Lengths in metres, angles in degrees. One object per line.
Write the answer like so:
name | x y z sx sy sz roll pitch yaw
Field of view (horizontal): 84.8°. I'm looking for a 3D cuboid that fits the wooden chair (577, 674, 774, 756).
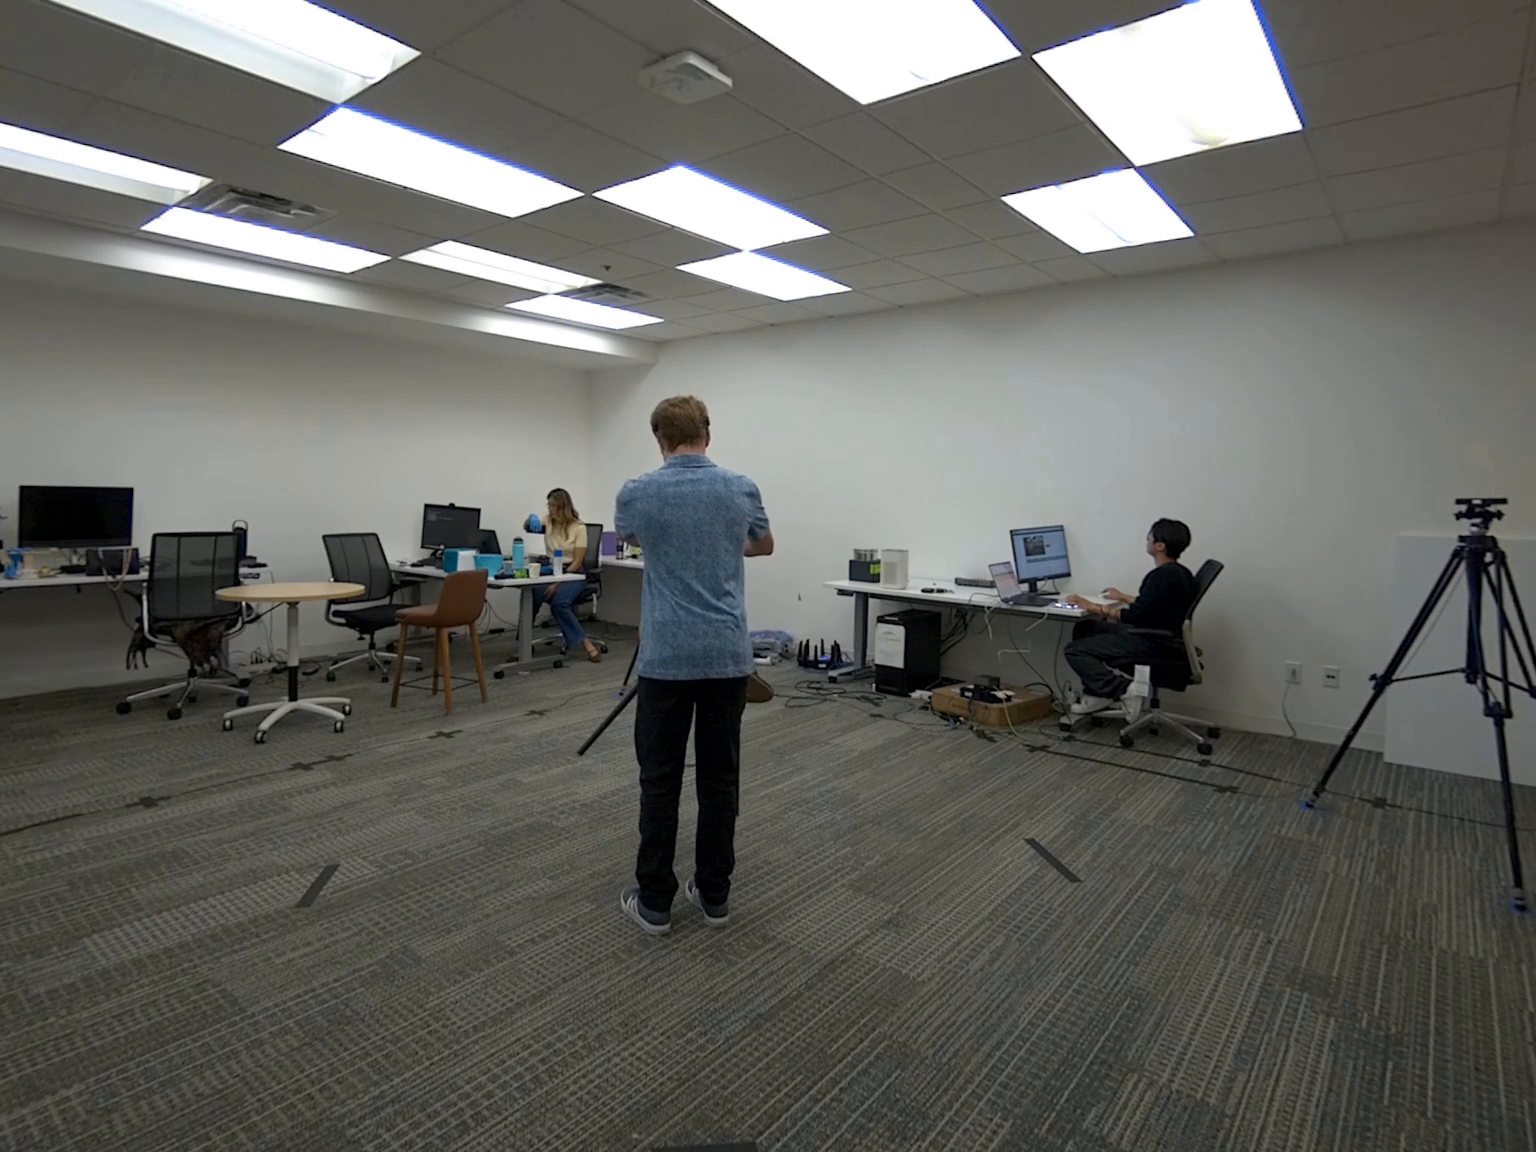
wooden chair | -0.279 0.393 3.267 0.493 0.887 0.501 0 -24 39
